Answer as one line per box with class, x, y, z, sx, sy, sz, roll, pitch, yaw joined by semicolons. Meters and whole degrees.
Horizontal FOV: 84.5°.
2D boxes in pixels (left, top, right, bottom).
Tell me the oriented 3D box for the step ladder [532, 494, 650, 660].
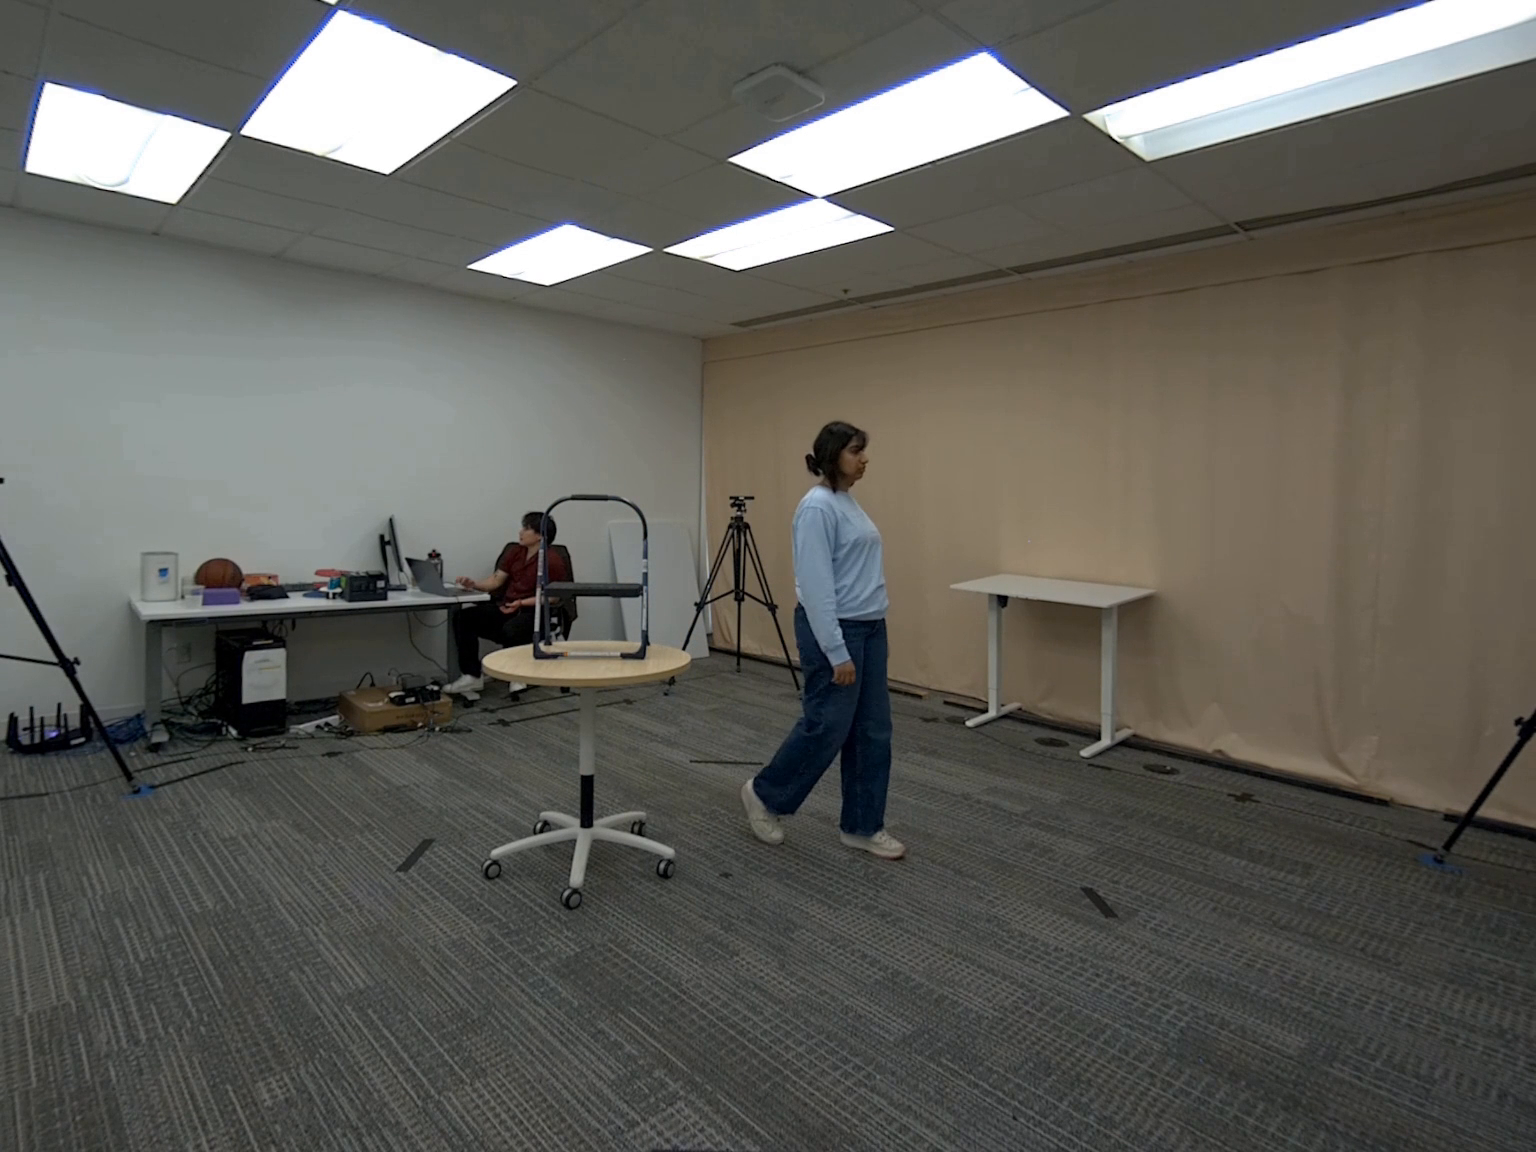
step ladder;-0.682;-0.008;3.255;0.429;0.605;0.351;1;1;-5
